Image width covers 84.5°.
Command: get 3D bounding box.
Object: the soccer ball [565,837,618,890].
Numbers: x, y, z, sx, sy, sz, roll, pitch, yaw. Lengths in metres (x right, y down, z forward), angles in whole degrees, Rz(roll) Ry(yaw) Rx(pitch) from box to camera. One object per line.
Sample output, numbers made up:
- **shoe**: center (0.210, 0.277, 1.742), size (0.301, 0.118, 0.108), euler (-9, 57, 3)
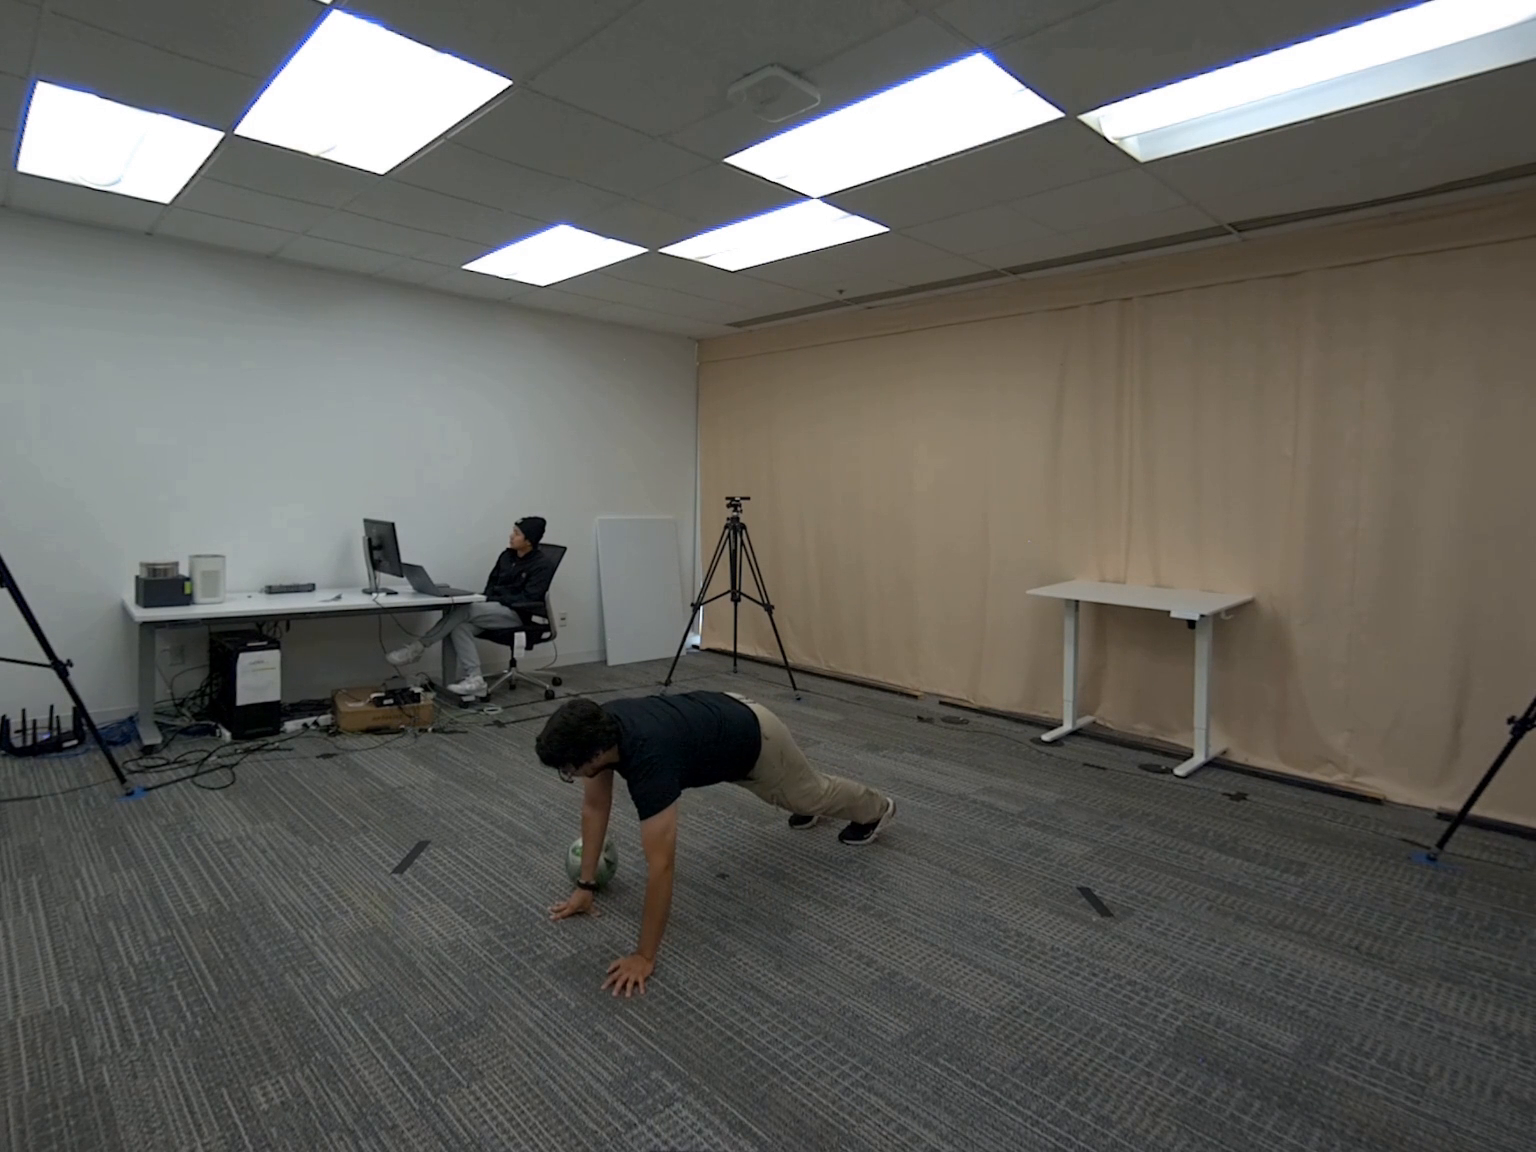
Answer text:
- **soccer ball**: center (-0.630, 1.012, 2.987), size (0.187, 0.187, 0.188), euler (1, 4, -1)
